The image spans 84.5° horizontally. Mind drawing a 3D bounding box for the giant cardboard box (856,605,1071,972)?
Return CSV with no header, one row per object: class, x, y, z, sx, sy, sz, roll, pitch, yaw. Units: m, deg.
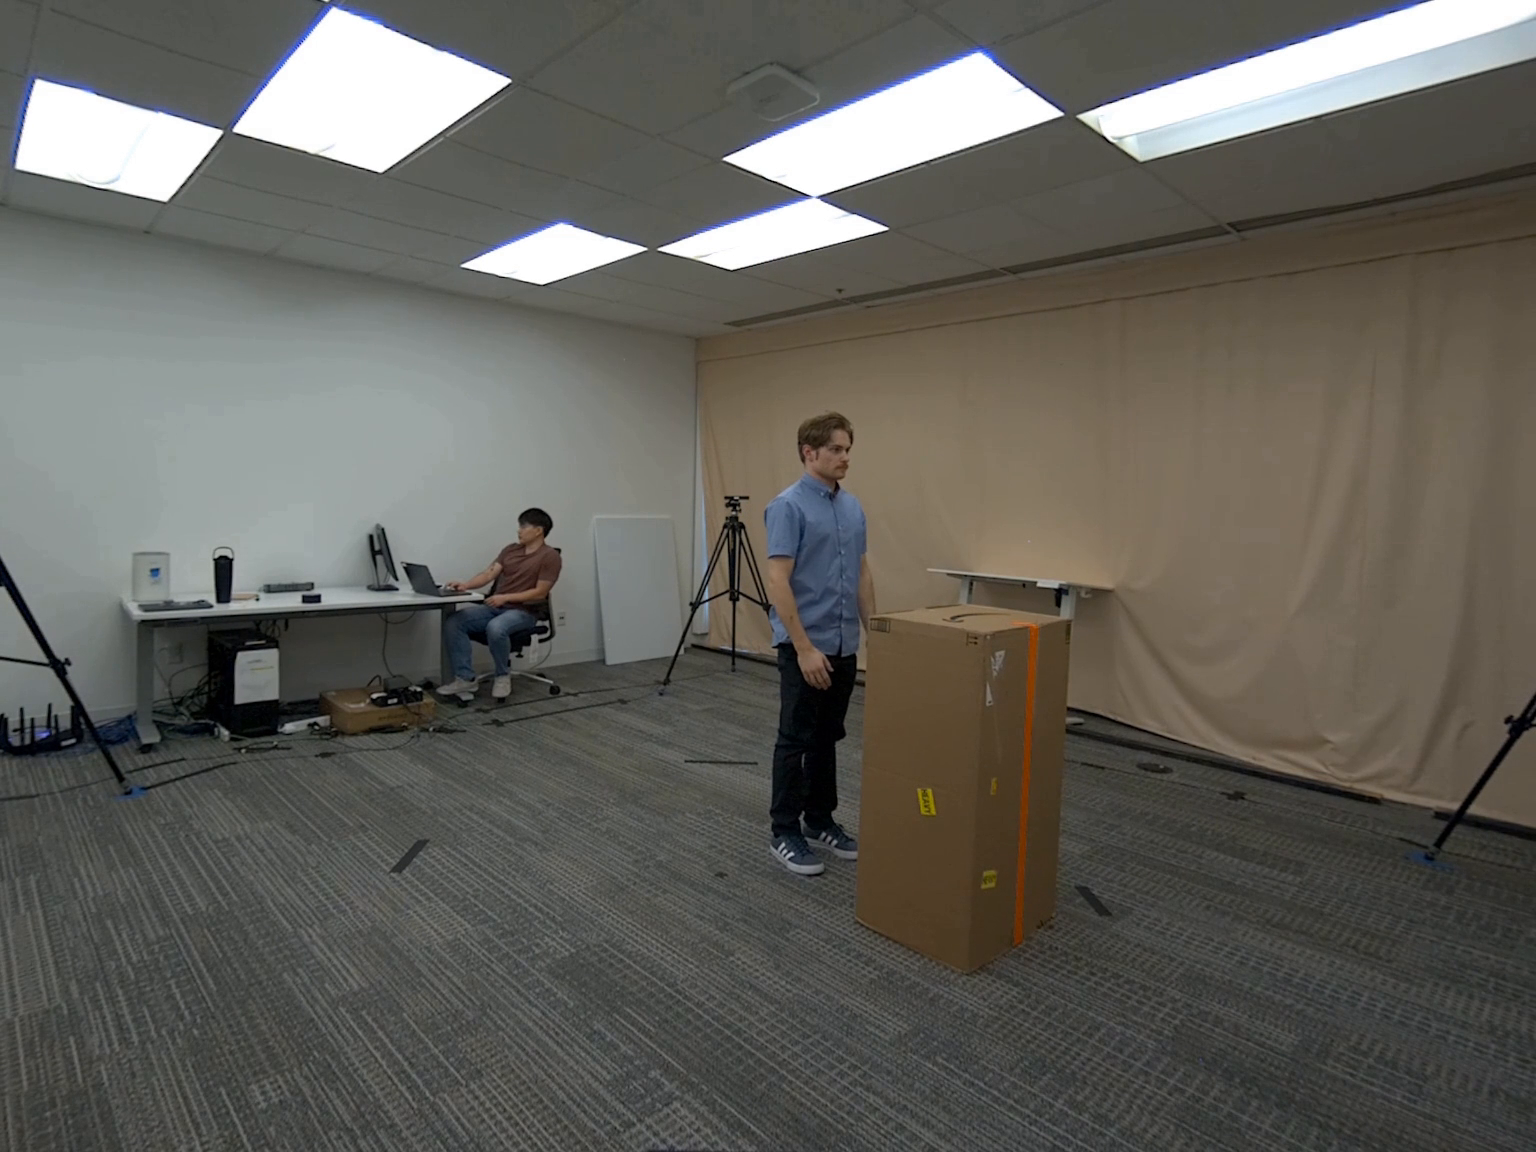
giant cardboard box,0.655,0.645,2.795,0.564,1.024,0.437,-1,4,-45
